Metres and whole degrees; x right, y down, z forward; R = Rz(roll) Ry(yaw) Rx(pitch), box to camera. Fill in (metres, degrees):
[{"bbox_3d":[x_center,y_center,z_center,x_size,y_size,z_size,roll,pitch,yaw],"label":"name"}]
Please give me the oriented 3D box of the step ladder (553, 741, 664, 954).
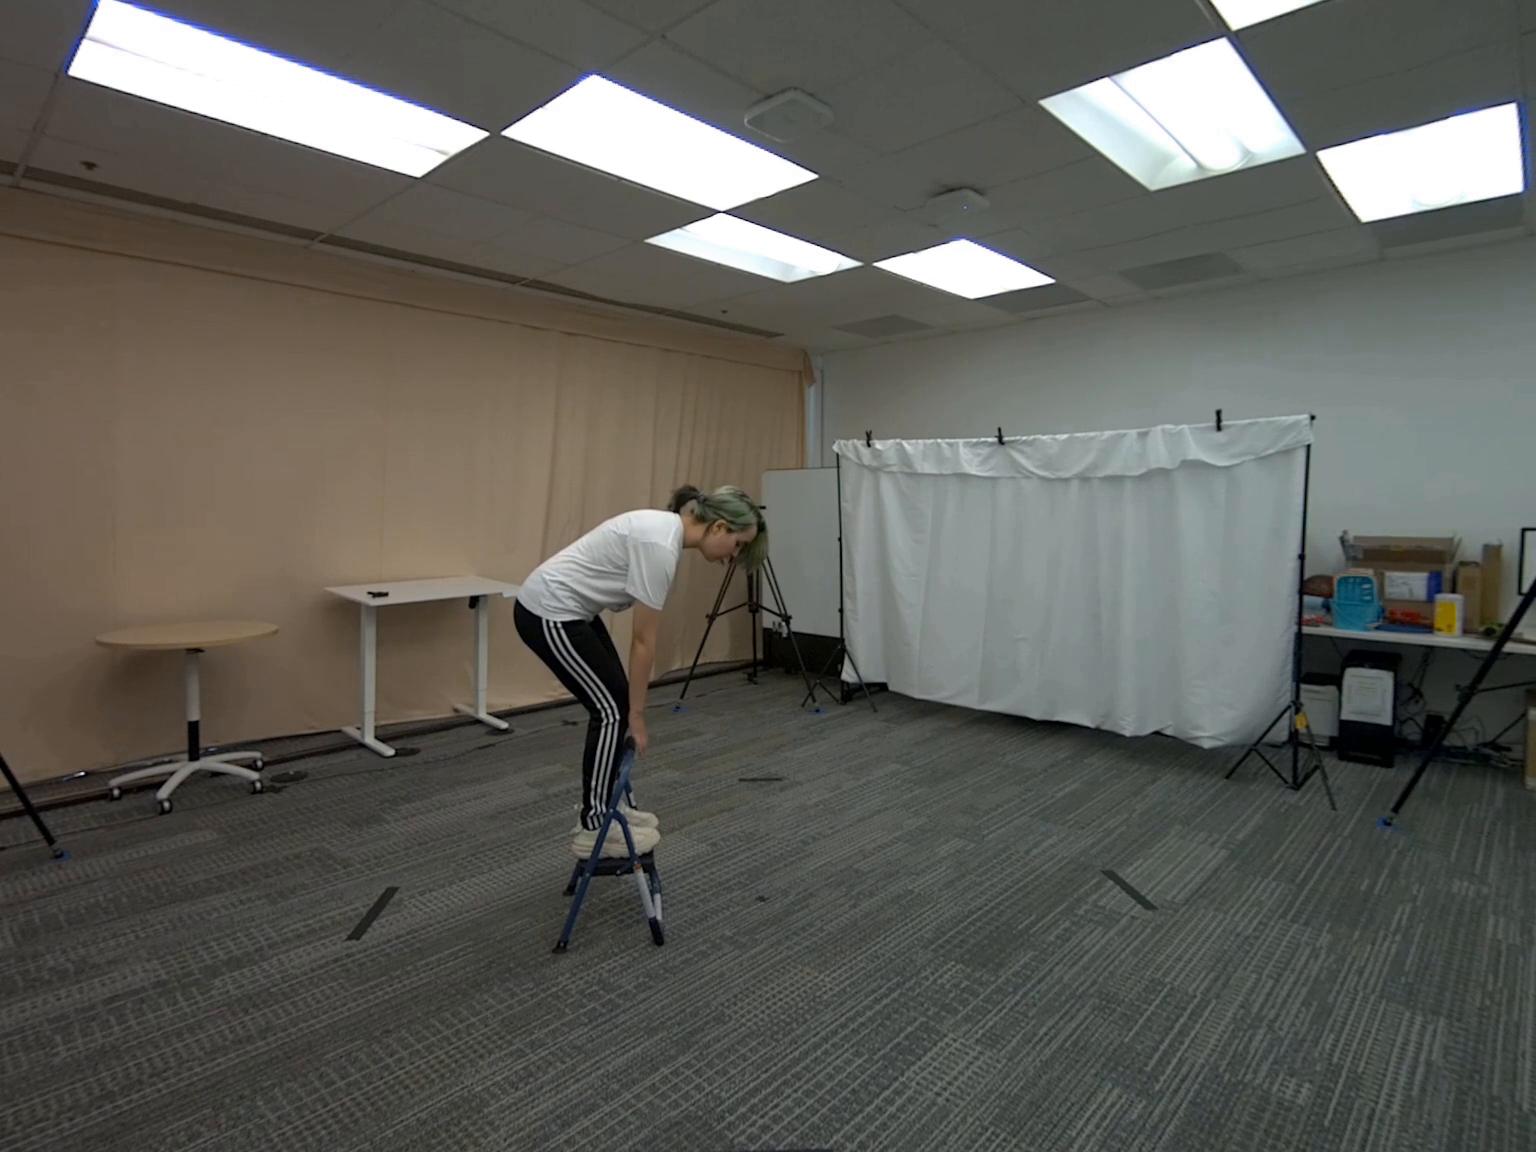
[{"bbox_3d":[-0.533,0.863,2.837,0.347,0.605,0.435,-2,3,-8],"label":"step ladder"}]
